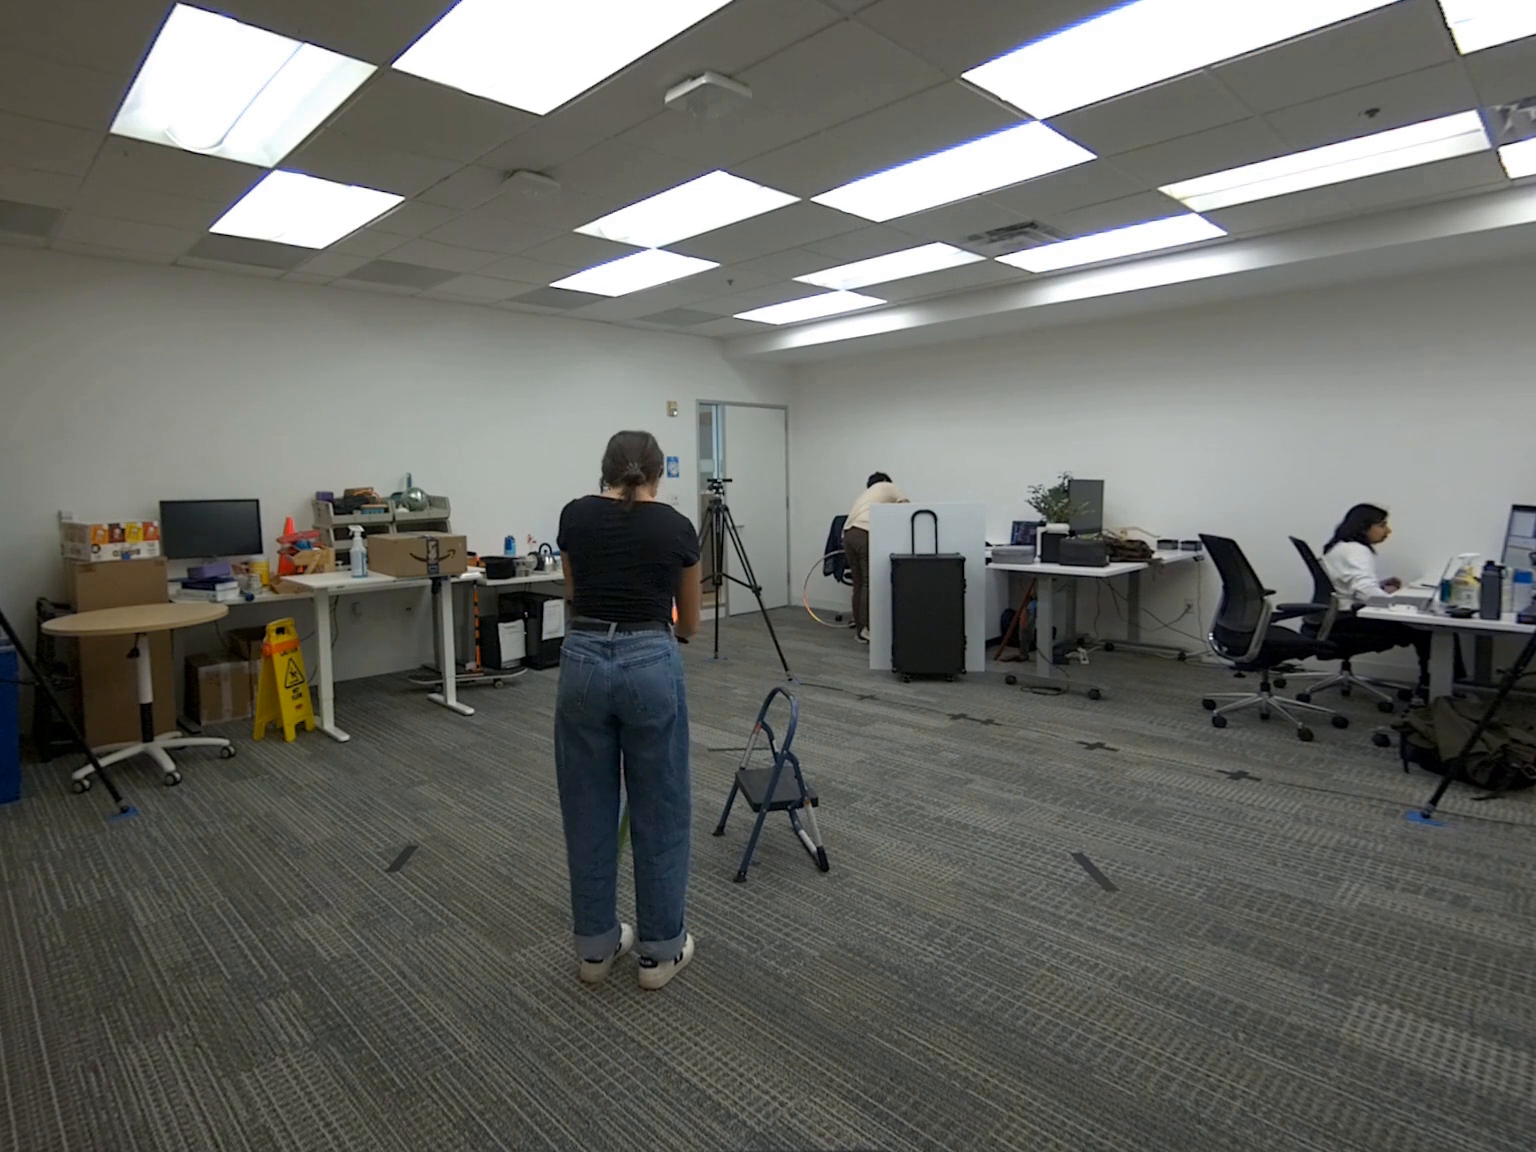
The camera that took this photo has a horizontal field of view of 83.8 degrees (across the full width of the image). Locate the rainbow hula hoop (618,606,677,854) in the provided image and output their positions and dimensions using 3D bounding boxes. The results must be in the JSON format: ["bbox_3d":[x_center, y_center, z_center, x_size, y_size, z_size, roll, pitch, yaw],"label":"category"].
[{"bbox_3d":[-0.440,0.579,3.073,0.035,0.976,0.986,14,4,-6],"label":"rainbow hula hoop"}]
